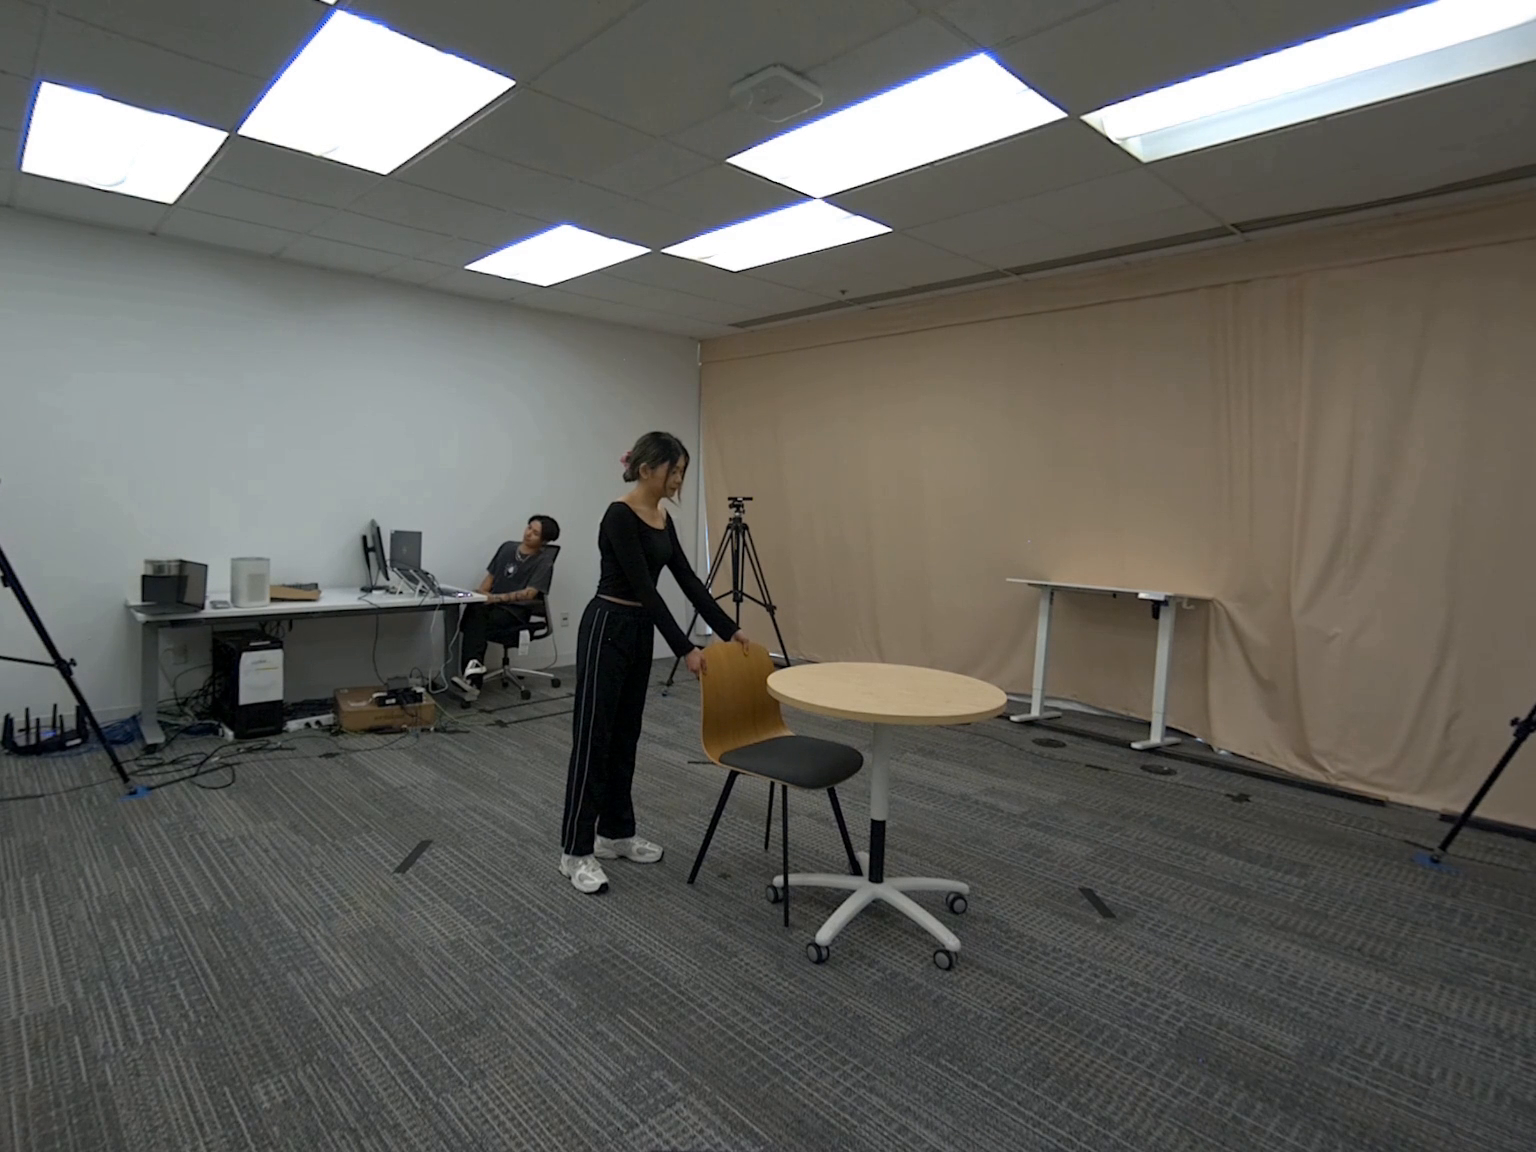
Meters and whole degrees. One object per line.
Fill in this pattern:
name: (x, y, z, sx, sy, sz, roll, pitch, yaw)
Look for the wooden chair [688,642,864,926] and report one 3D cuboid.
wooden chair: (0.034, 0.687, 3.023, 0.535, 0.878, 0.467, -2, -1, 41)
